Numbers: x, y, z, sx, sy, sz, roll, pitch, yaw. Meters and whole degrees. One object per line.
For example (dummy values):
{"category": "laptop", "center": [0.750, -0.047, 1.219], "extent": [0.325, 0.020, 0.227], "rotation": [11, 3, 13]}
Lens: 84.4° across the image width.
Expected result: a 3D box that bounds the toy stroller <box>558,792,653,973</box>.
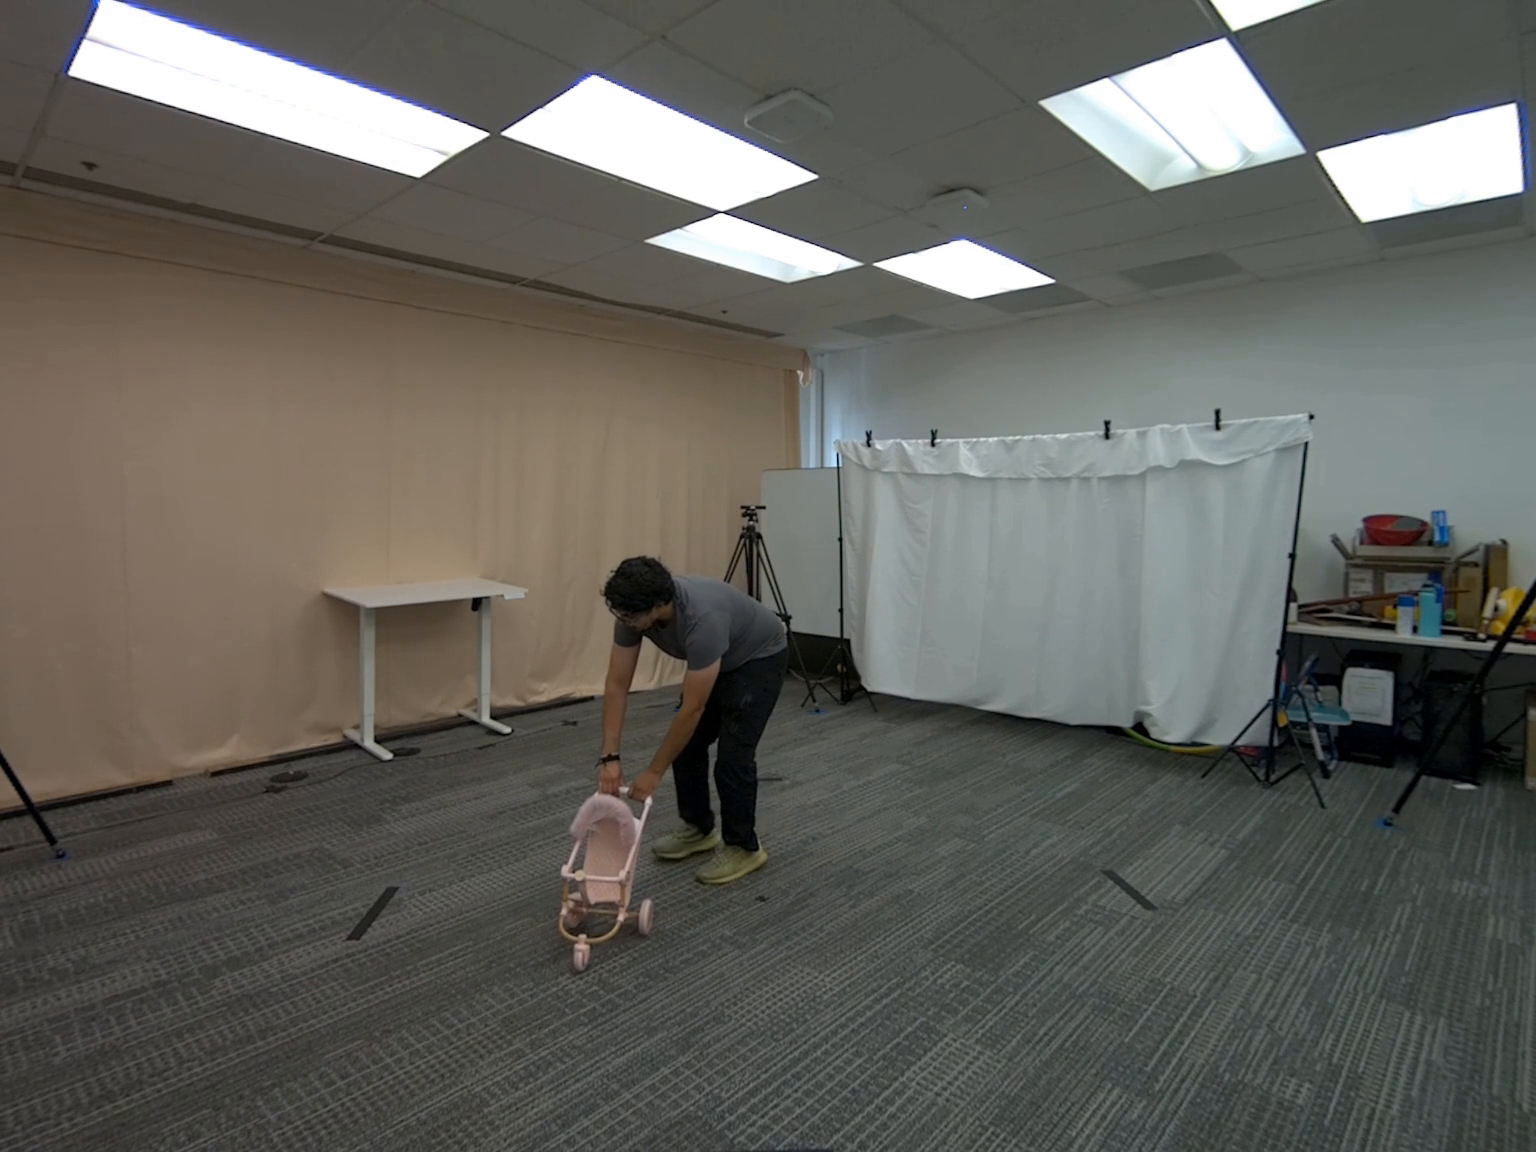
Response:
{"category": "toy stroller", "center": [-0.529, 0.946, 2.708], "extent": [0.286, 0.539, 0.333], "rotation": [1, -15, 14]}
